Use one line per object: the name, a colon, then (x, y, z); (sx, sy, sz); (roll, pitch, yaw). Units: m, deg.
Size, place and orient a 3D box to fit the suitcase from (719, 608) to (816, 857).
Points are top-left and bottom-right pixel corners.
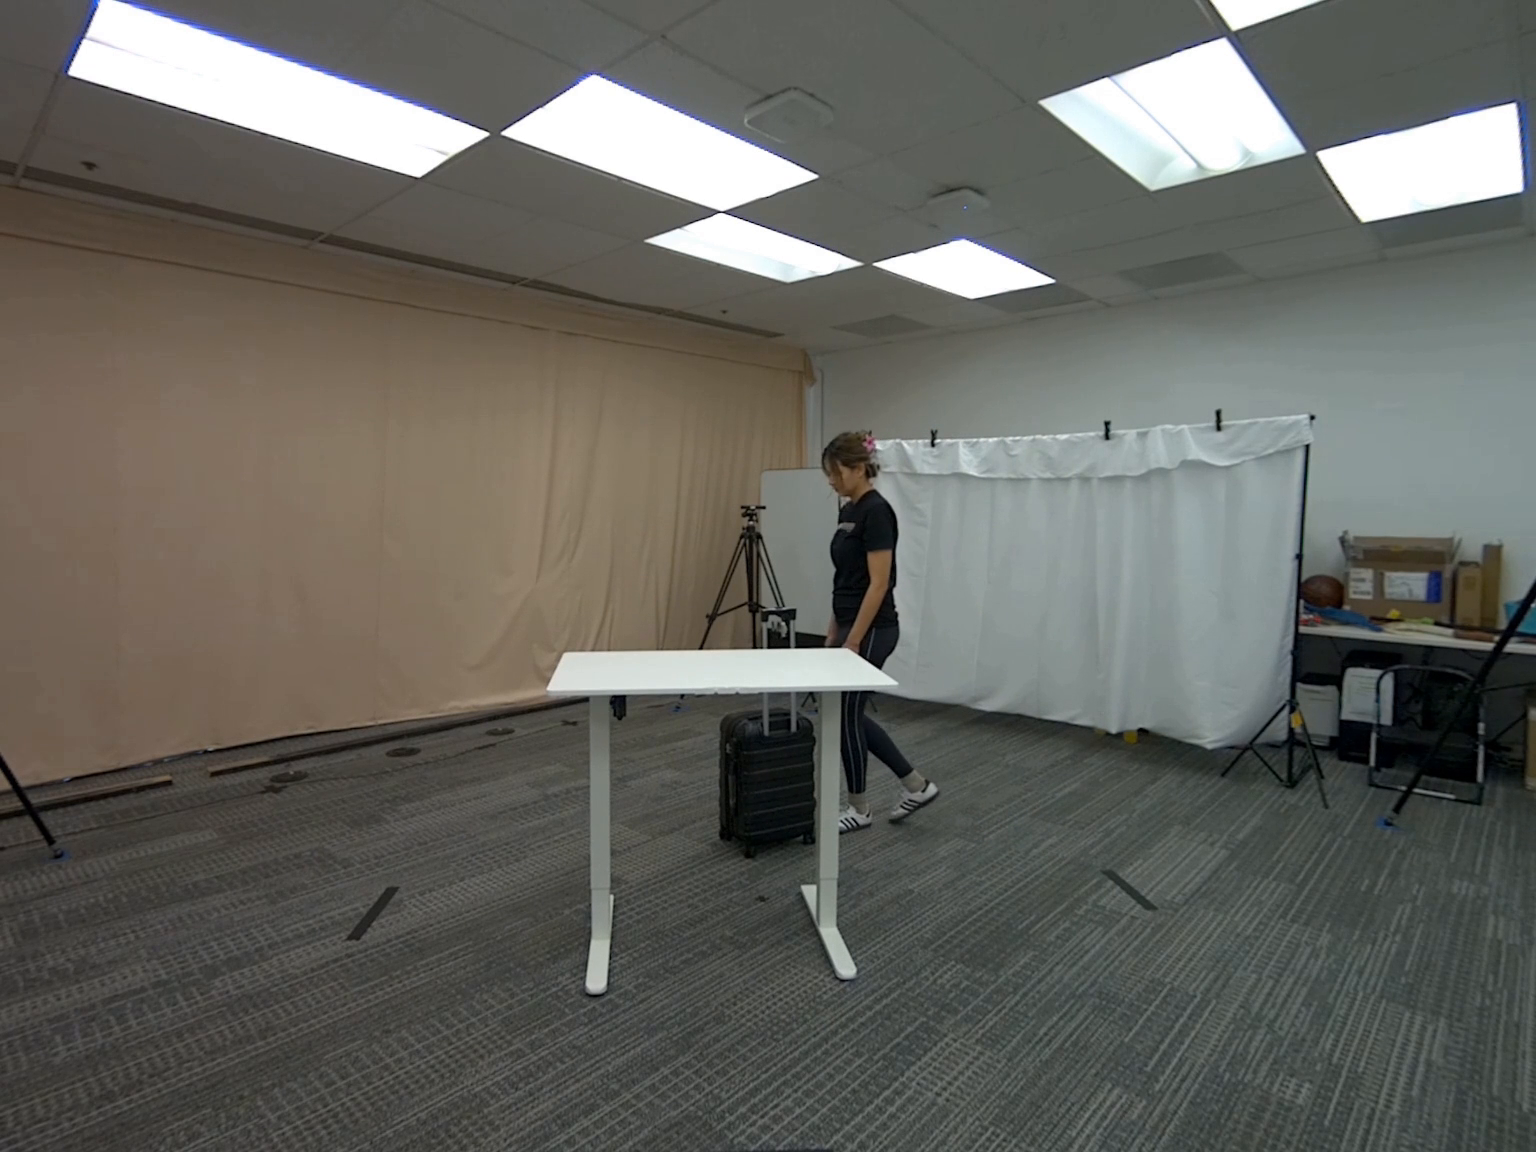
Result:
suitcase: (-0.009, 0.624, 3.461); (0.375, 0.977, 0.263); (-1, 2, -25)
